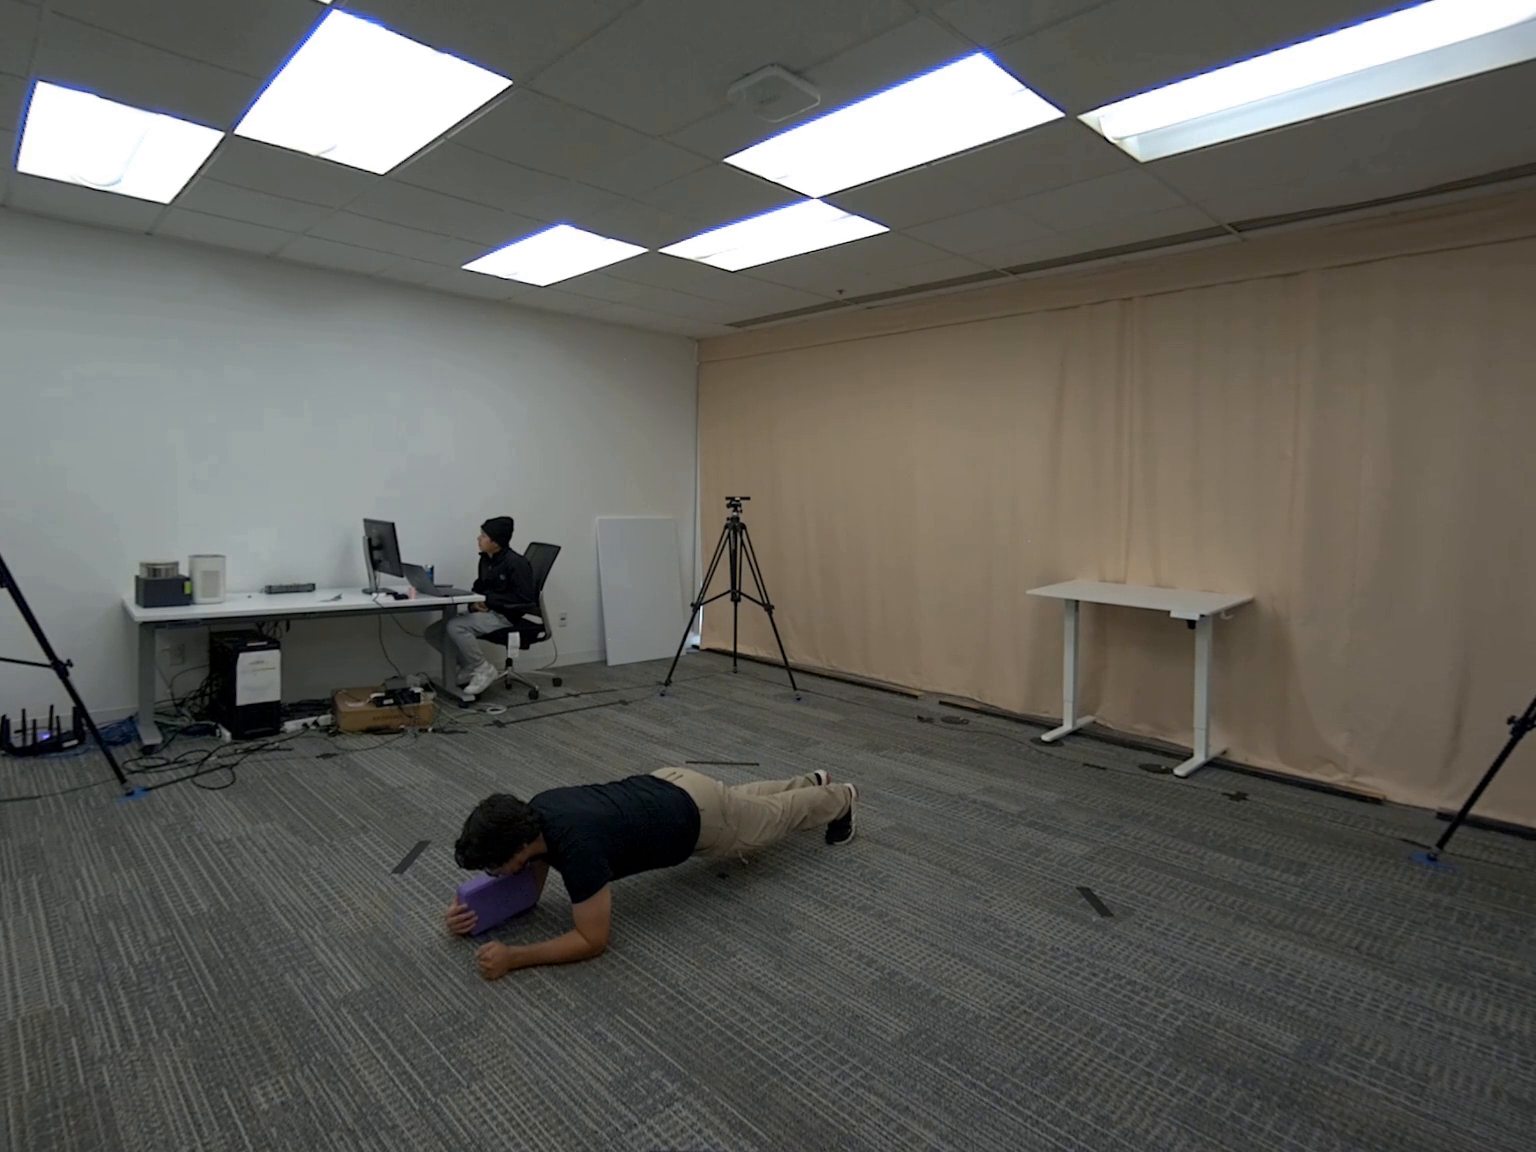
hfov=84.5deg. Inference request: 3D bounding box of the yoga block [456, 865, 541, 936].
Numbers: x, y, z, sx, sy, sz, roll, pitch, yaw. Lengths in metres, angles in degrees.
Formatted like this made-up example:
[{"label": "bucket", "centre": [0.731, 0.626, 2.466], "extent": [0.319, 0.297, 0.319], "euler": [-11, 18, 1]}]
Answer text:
[{"label": "yoga block", "centre": [-0.868, 1.017, 2.690], "extent": [0.225, 0.148, 0.078], "euler": [-12, 13, -37]}]
